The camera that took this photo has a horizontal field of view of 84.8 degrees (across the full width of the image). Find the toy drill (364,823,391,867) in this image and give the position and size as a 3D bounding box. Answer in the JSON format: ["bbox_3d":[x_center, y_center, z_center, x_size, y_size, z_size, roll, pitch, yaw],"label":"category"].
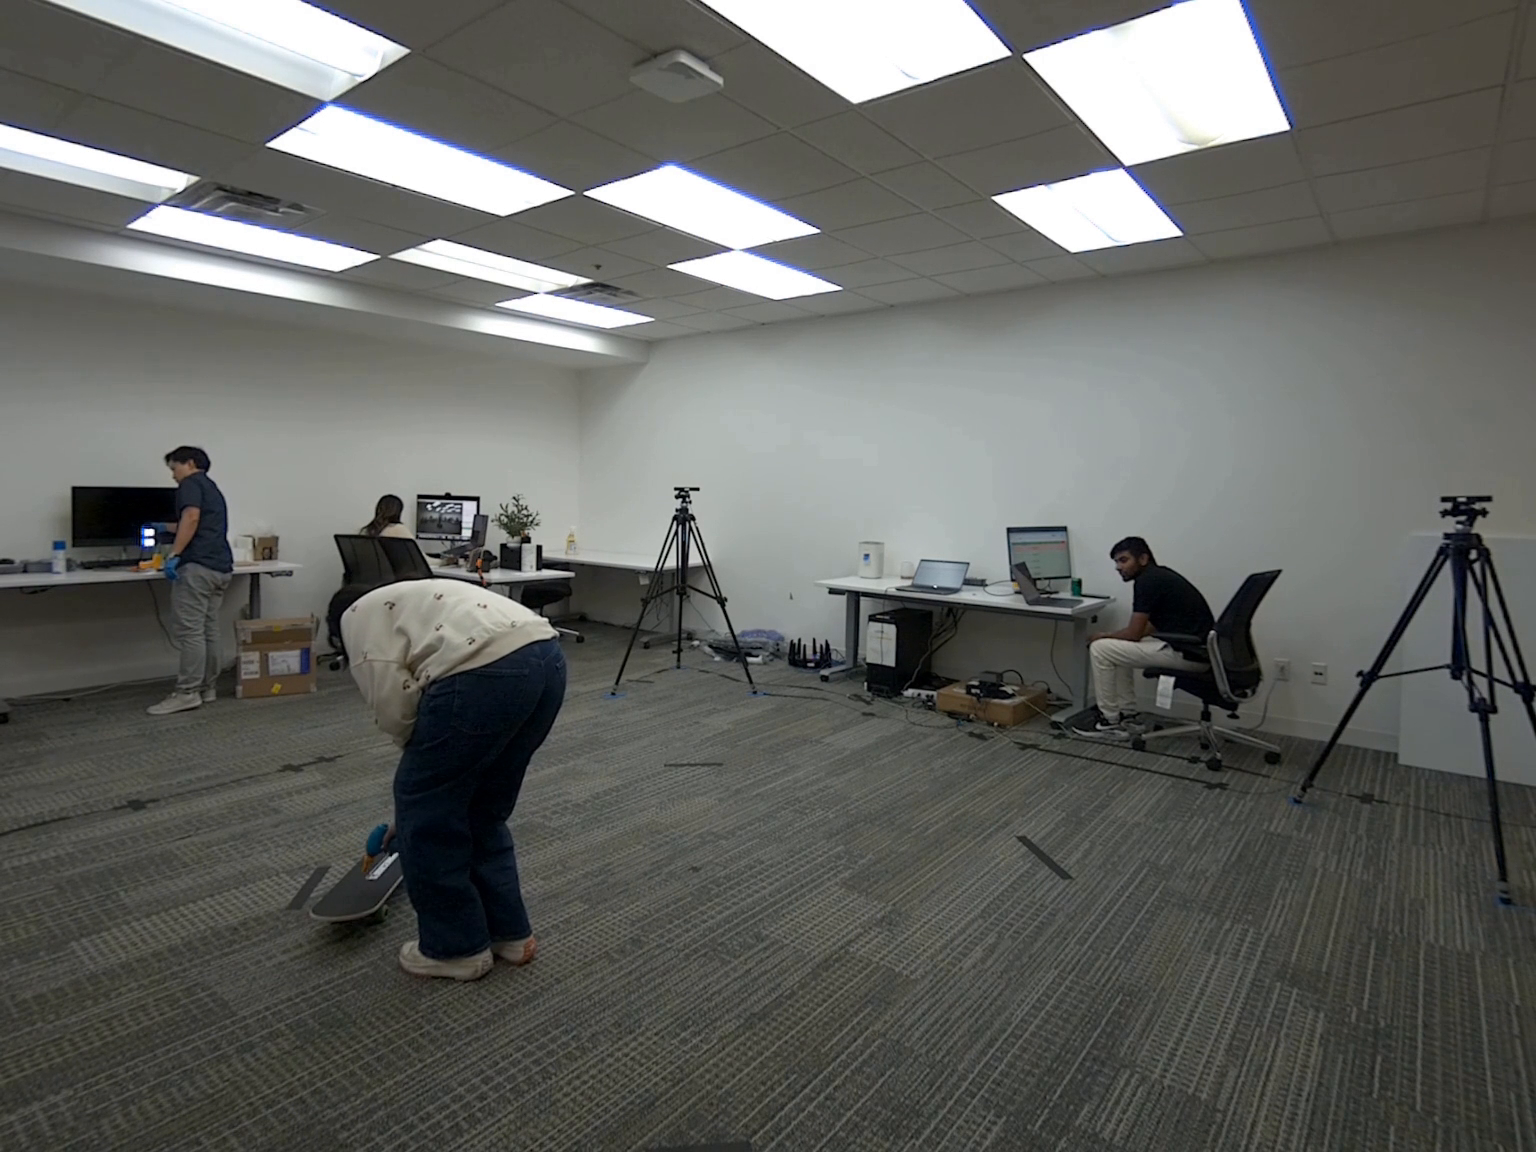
[{"bbox_3d":[-1.250,0.885,2.748,0.146,0.169,0.061,24,2,0],"label":"toy drill"}]
